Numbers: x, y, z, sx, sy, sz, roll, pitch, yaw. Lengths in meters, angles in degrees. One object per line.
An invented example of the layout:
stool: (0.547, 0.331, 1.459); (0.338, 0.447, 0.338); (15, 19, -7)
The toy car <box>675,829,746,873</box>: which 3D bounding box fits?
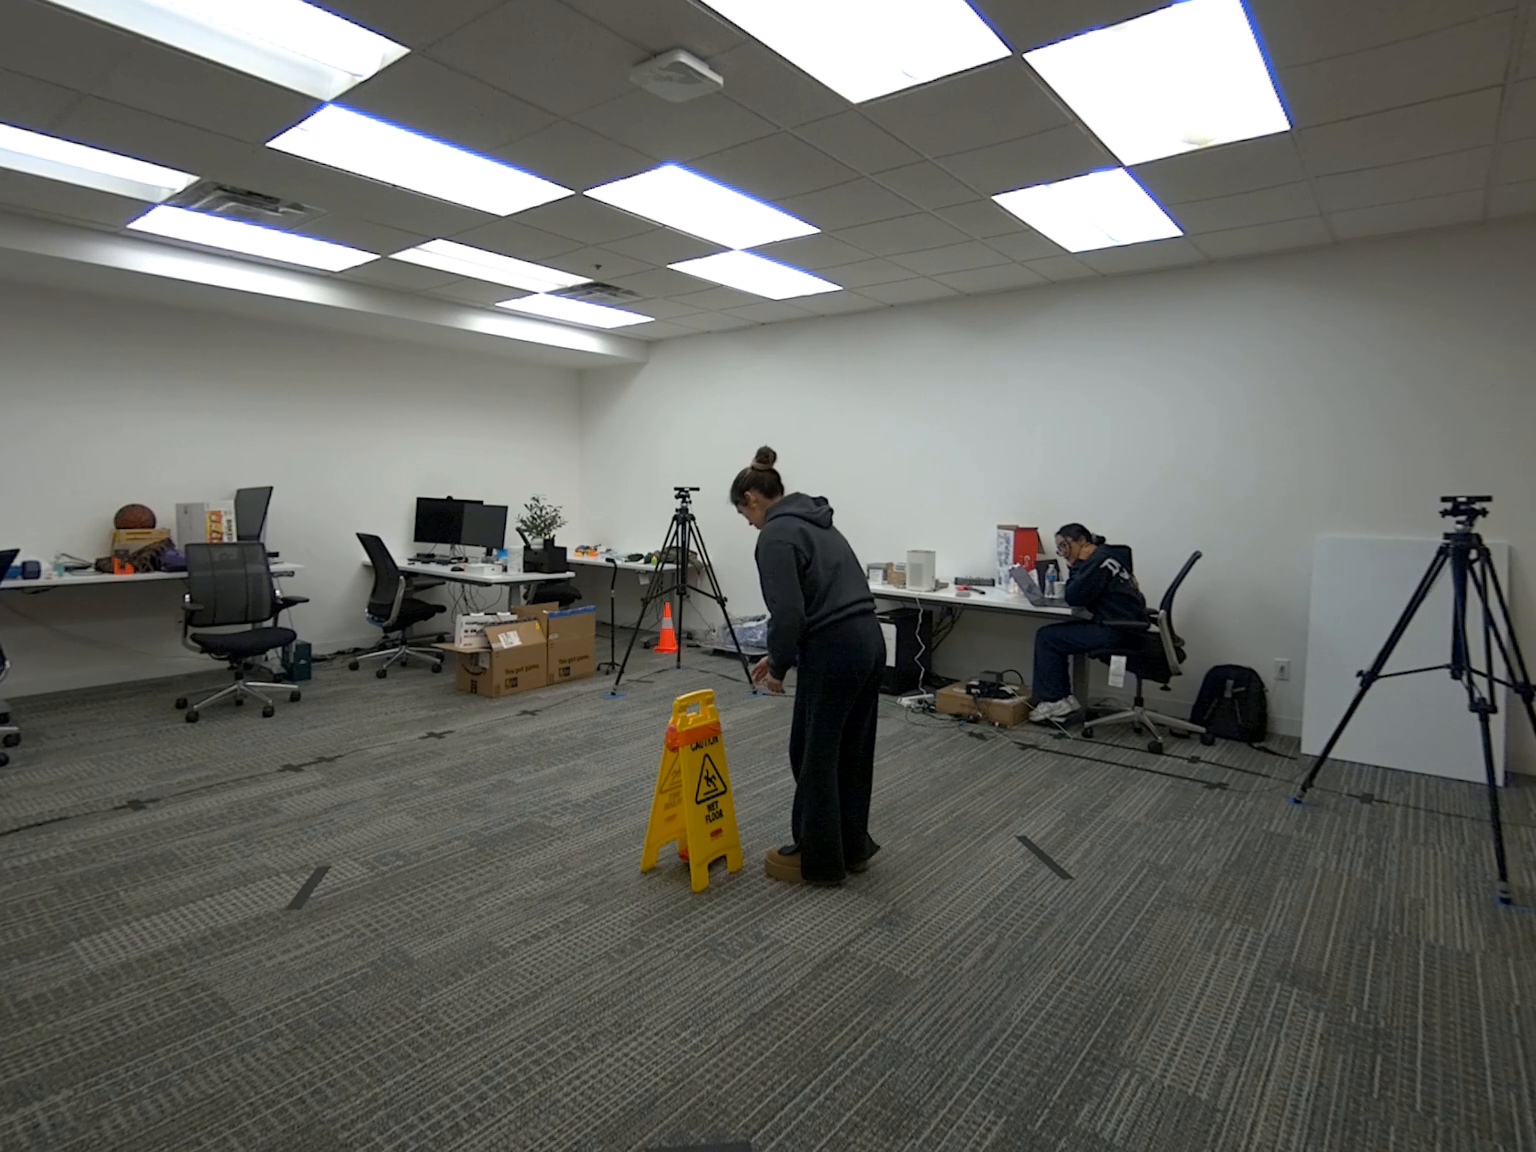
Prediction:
toy car: (-0.217, 1.033, 3.172); (0.134, 0.083, 0.246); (4, -3, 35)
